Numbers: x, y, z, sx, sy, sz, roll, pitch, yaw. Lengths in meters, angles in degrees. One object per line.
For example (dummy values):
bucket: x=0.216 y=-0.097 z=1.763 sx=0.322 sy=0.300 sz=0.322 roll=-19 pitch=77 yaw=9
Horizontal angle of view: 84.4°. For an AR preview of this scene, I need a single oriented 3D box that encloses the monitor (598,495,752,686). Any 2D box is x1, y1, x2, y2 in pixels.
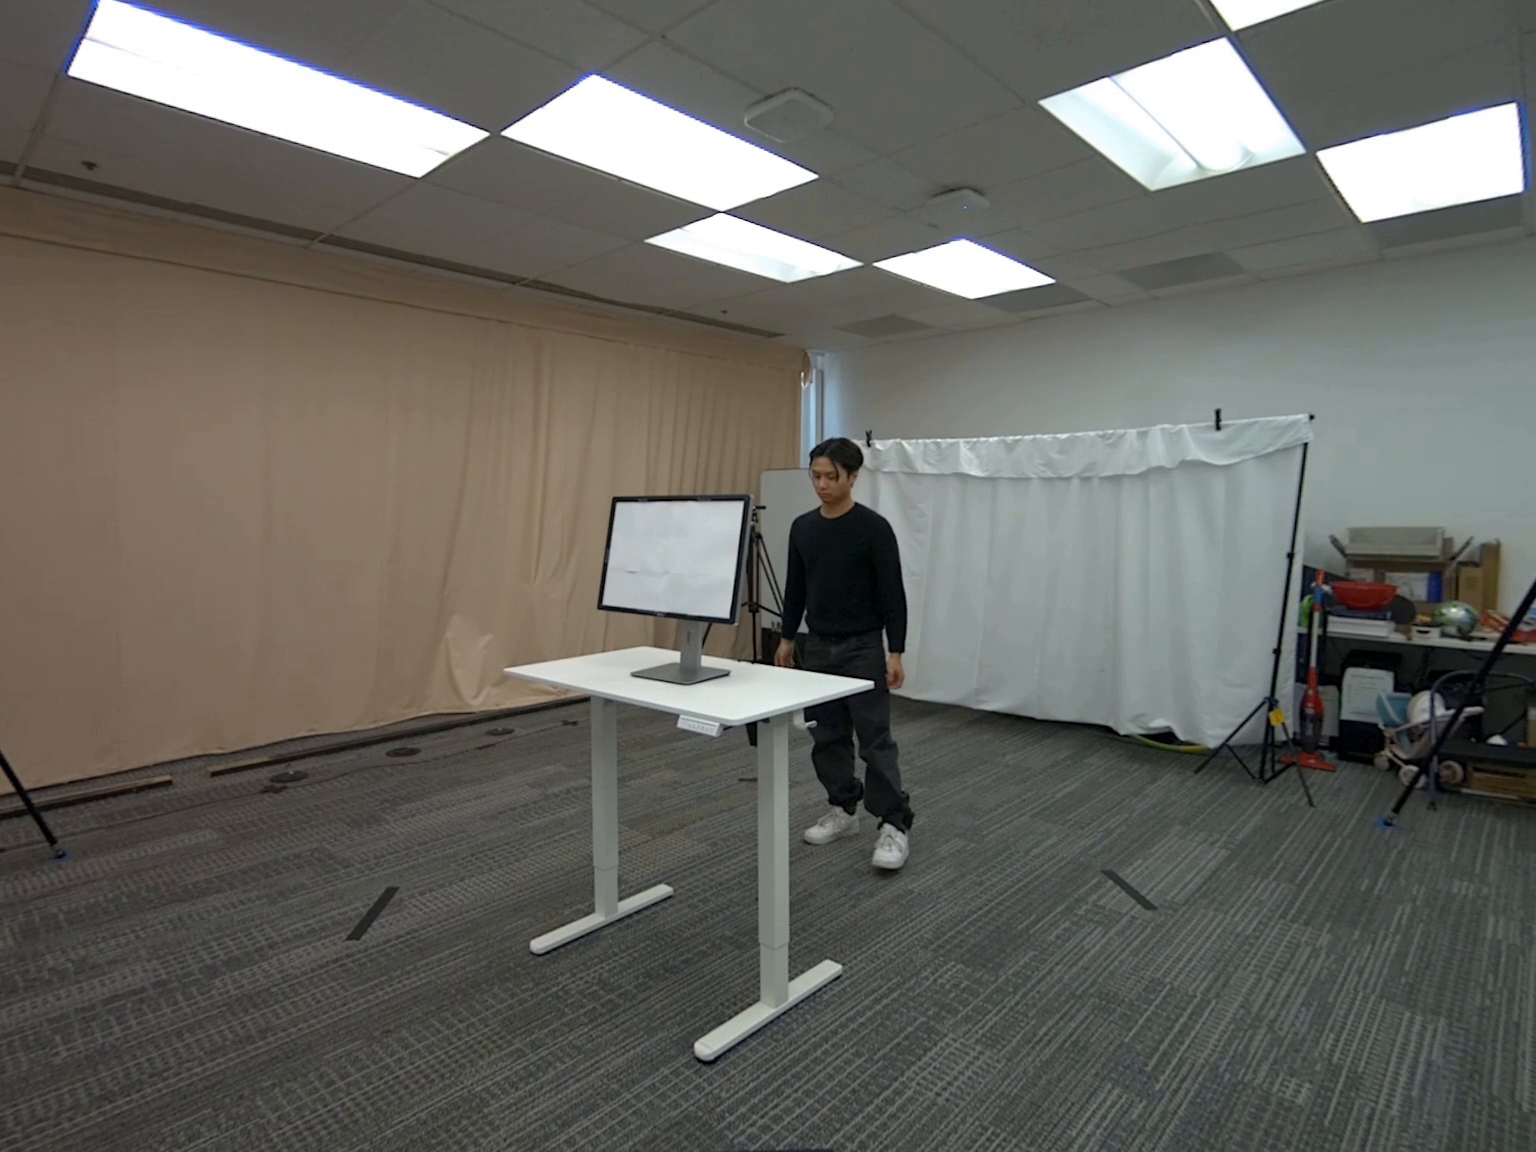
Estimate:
monitor: x=-0.261 y=0.036 z=2.521 sx=0.556 sy=0.521 sz=0.182 roll=2 pitch=5 yaw=36
